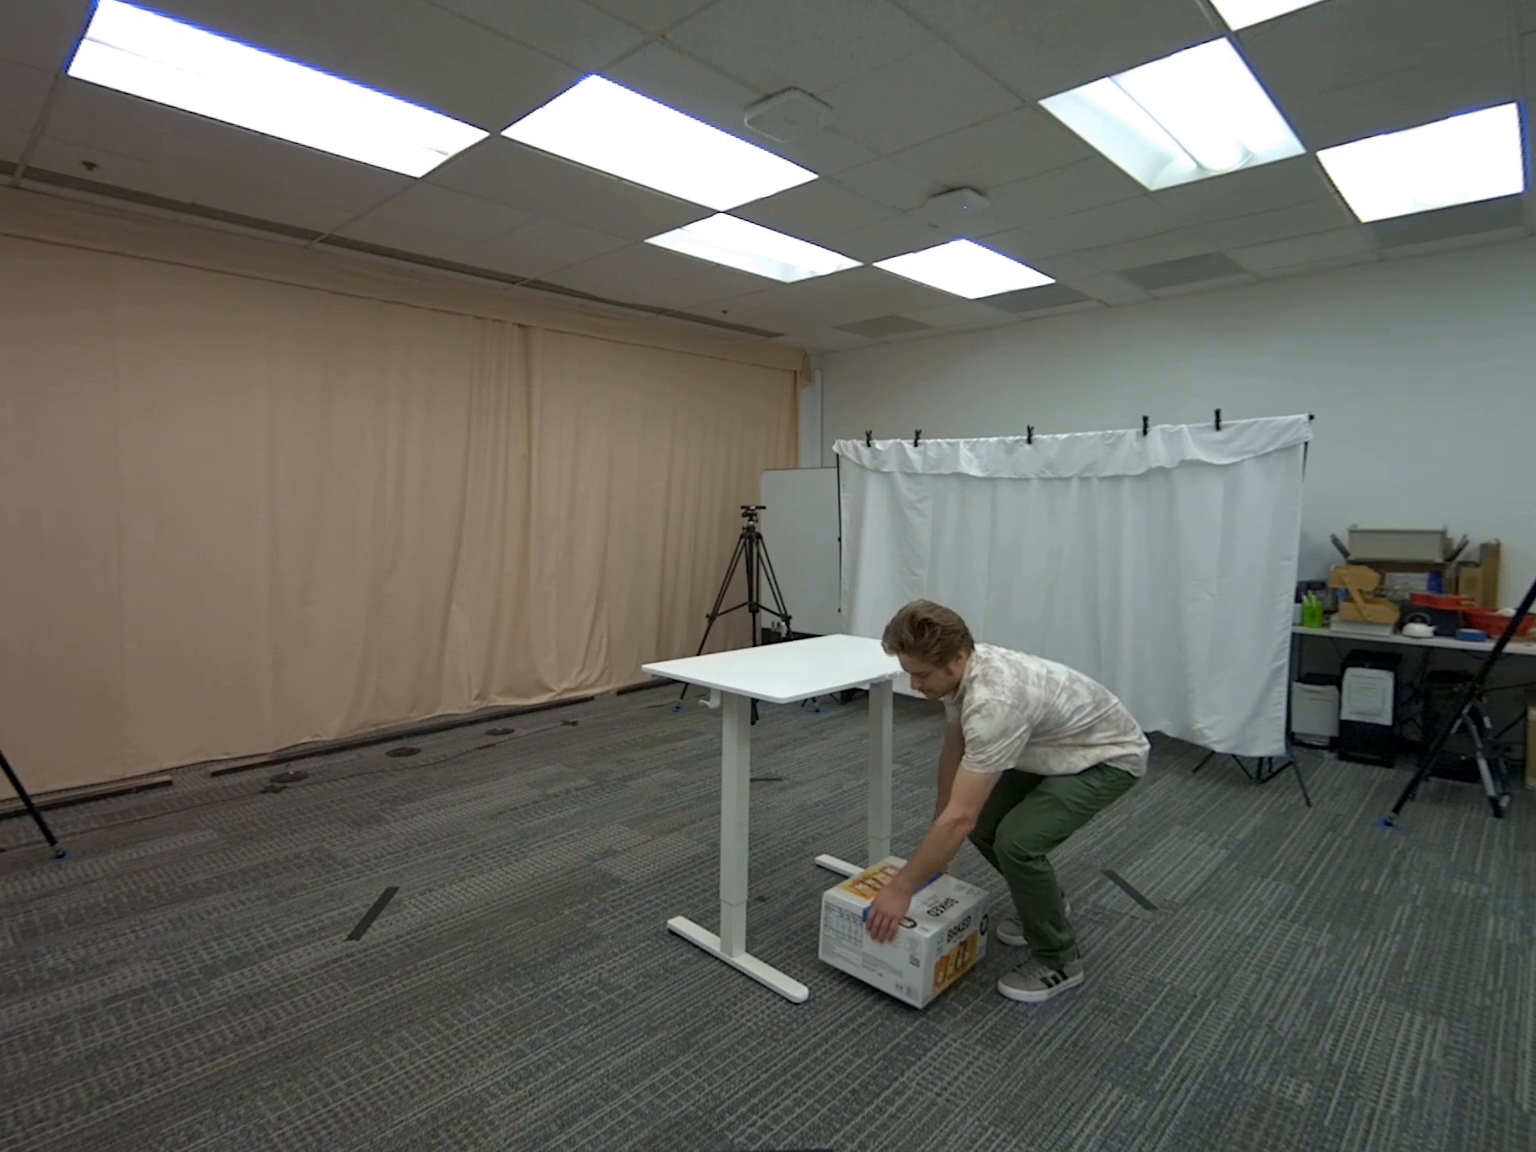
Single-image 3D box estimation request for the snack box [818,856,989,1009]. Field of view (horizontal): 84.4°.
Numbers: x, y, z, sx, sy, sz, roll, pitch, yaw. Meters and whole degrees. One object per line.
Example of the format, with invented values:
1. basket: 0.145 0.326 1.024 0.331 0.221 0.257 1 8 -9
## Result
1. snack box: 0.417 1.042 2.505 0.352 0.205 0.392 7 6 40
